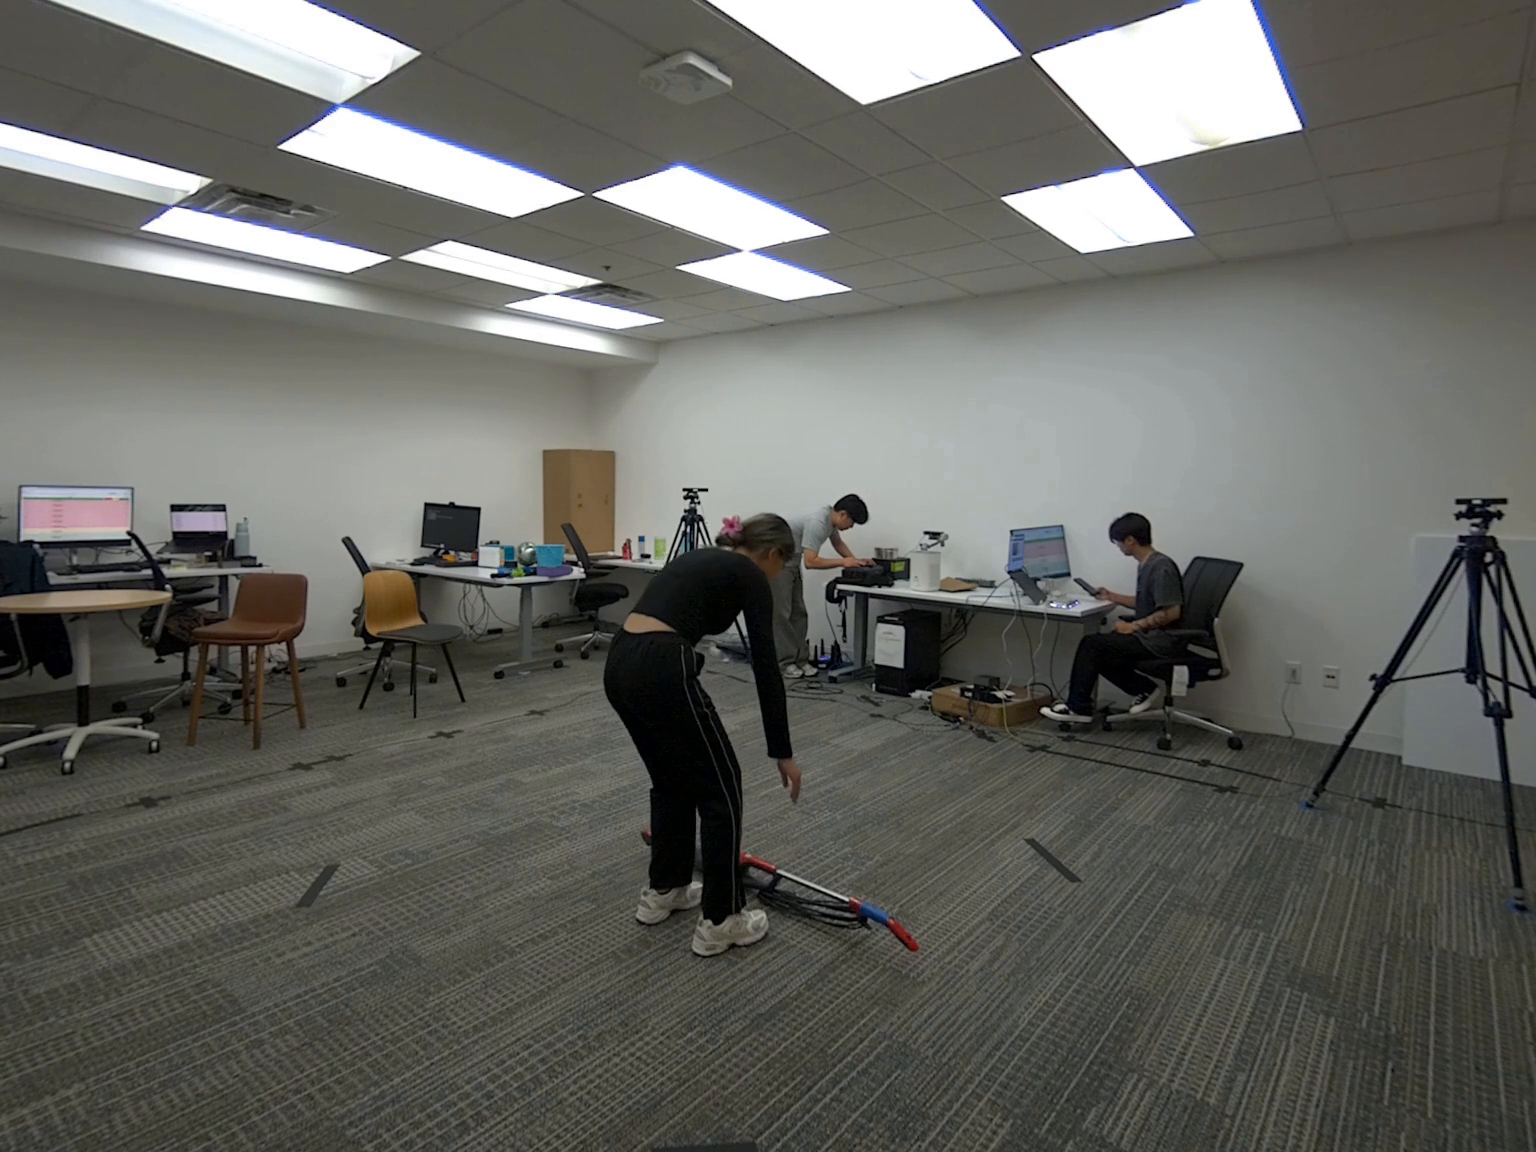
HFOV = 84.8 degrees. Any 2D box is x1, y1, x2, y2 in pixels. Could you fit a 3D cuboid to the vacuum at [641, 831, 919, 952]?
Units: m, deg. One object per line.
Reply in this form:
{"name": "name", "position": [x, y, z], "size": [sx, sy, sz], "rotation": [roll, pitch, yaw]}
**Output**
{"name": "vacuum", "position": [0.031, 1.040, 2.859], "size": [1.086, 0.143, 0.245], "rotation": [8, 11, 43]}
